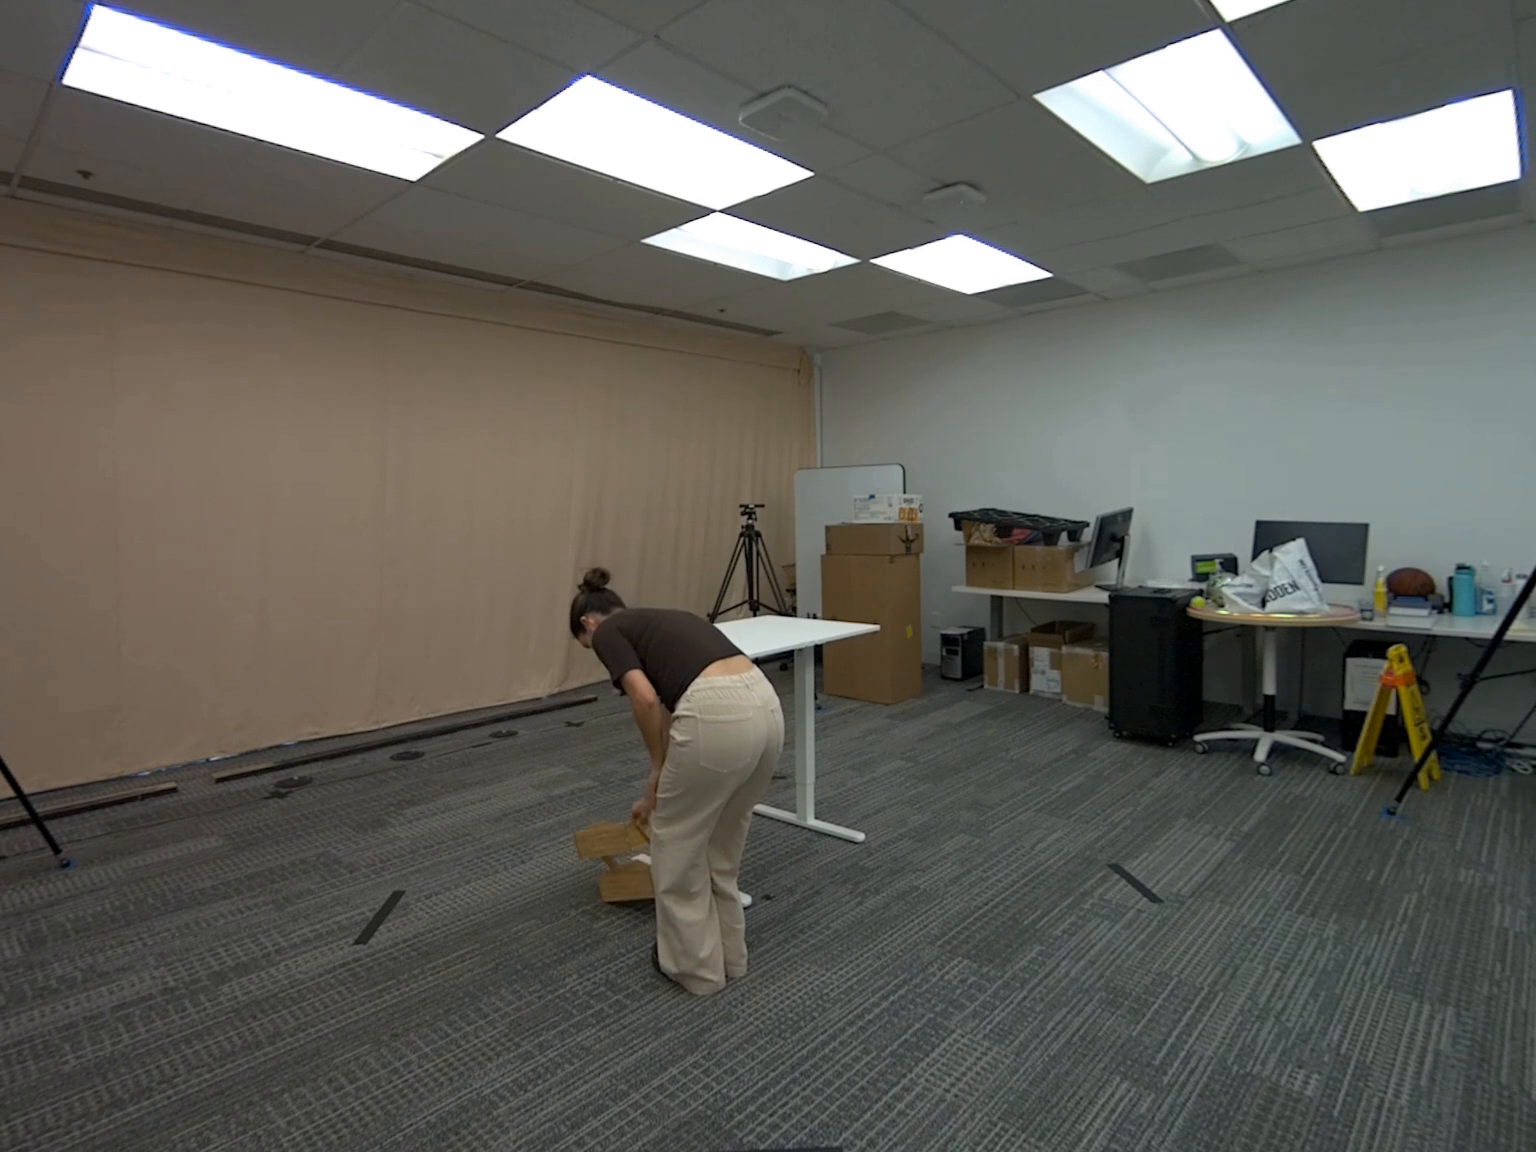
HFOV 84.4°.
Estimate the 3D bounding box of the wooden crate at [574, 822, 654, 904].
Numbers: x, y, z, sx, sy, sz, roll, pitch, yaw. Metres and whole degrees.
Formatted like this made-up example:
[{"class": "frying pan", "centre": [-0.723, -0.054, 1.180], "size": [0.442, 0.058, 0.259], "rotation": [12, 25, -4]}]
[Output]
[{"class": "wooden crate", "centre": [-0.451, 0.973, 2.963], "size": [0.331, 0.275, 0.293], "rotation": [-22, -9, 37]}]
